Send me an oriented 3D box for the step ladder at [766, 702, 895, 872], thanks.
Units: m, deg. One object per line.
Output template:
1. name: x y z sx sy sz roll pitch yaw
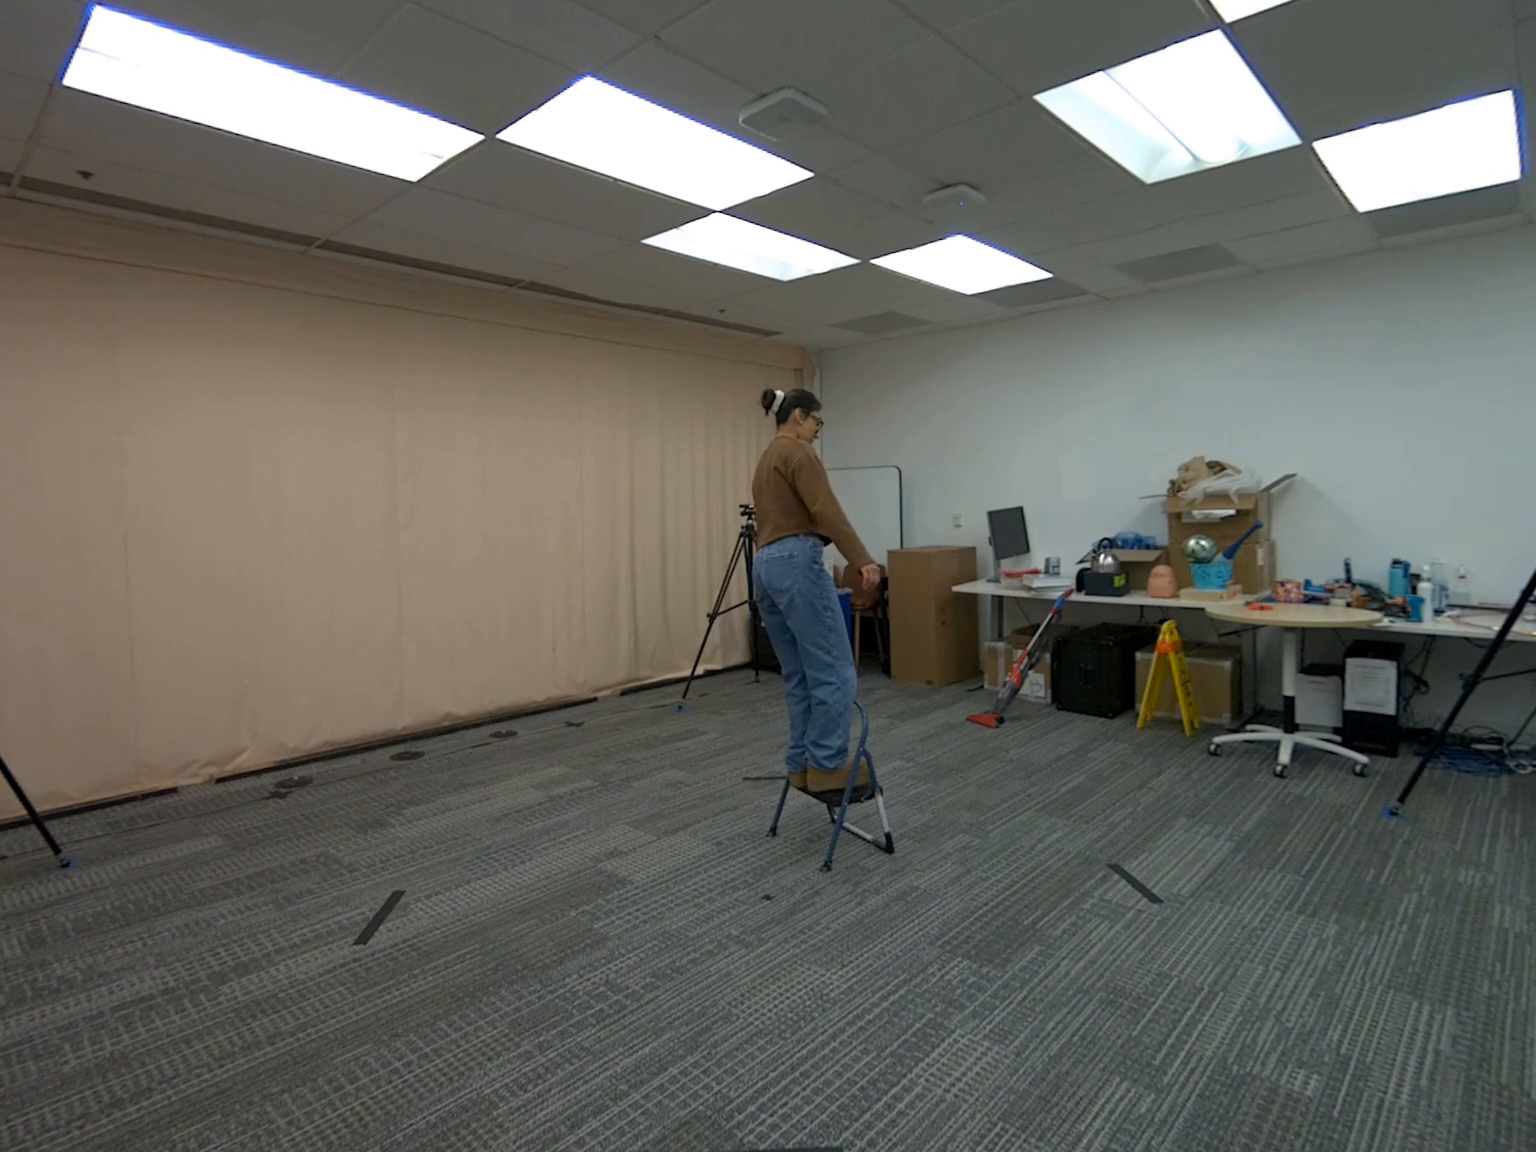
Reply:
1. step ladder: 0.256 0.795 3.428 0.340 0.605 0.443 -2 3 -30
